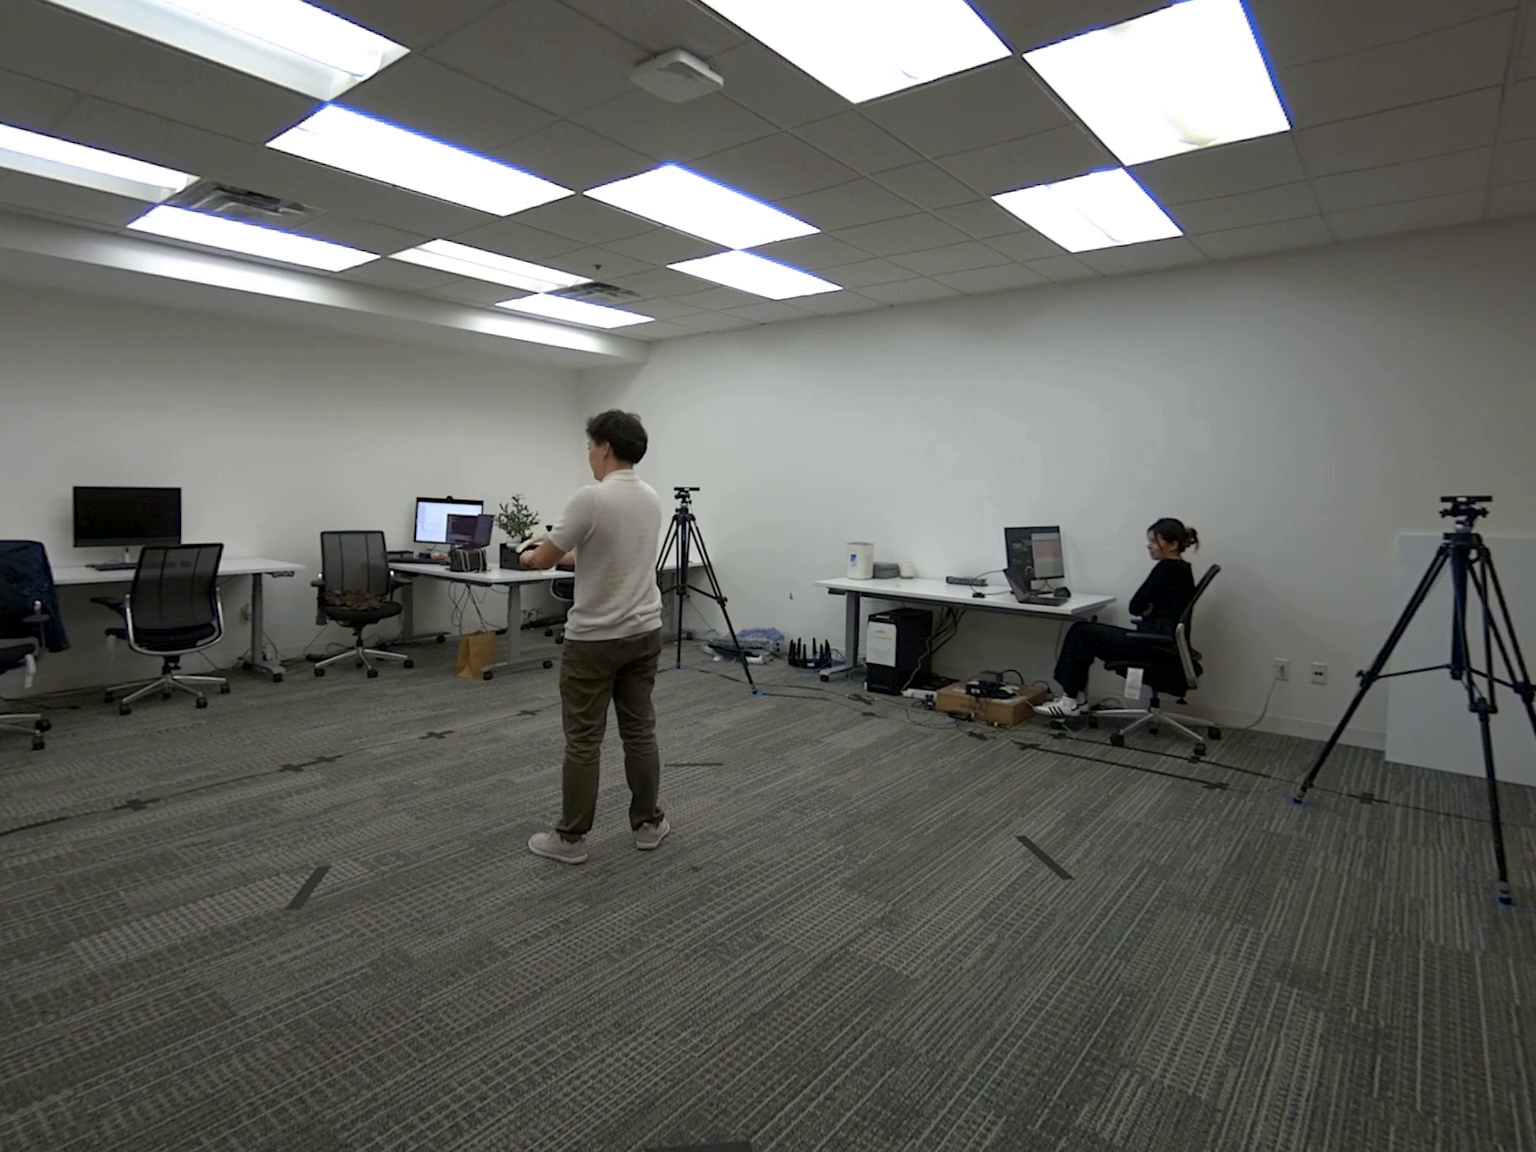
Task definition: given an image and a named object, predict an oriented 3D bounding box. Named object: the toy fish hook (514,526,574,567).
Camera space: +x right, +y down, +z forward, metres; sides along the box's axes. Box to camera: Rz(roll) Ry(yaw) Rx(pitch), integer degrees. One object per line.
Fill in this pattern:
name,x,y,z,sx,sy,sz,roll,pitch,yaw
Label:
toy fish hook,-0.972,-0.104,3.569,0.225,0.047,0.514,-19,17,5
